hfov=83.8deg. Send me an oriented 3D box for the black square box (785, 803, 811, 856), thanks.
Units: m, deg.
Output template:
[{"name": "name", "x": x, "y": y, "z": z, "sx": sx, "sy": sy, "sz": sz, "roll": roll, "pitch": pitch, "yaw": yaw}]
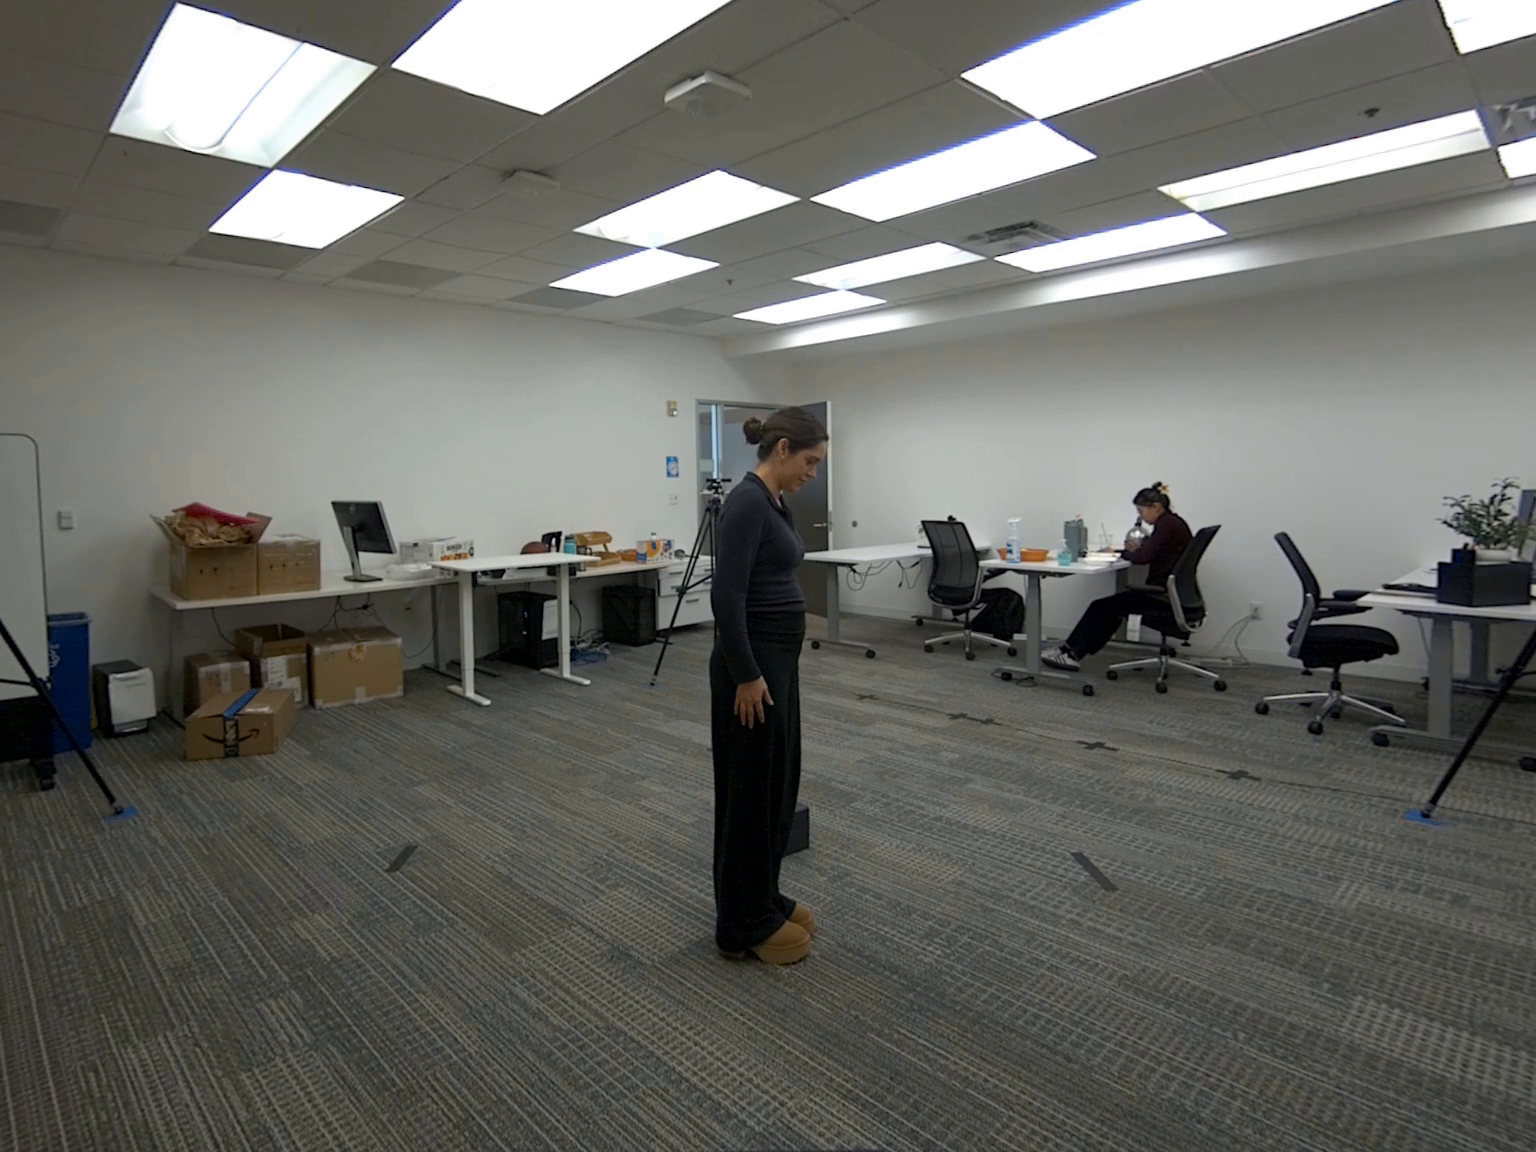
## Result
[{"name": "black square box", "x": 0.012, "y": 0.947, "z": 3.237, "sx": 0.222, "sy": 0.155, "sz": 0.224, "roll": -5, "pitch": 7, "yaw": -41}]
